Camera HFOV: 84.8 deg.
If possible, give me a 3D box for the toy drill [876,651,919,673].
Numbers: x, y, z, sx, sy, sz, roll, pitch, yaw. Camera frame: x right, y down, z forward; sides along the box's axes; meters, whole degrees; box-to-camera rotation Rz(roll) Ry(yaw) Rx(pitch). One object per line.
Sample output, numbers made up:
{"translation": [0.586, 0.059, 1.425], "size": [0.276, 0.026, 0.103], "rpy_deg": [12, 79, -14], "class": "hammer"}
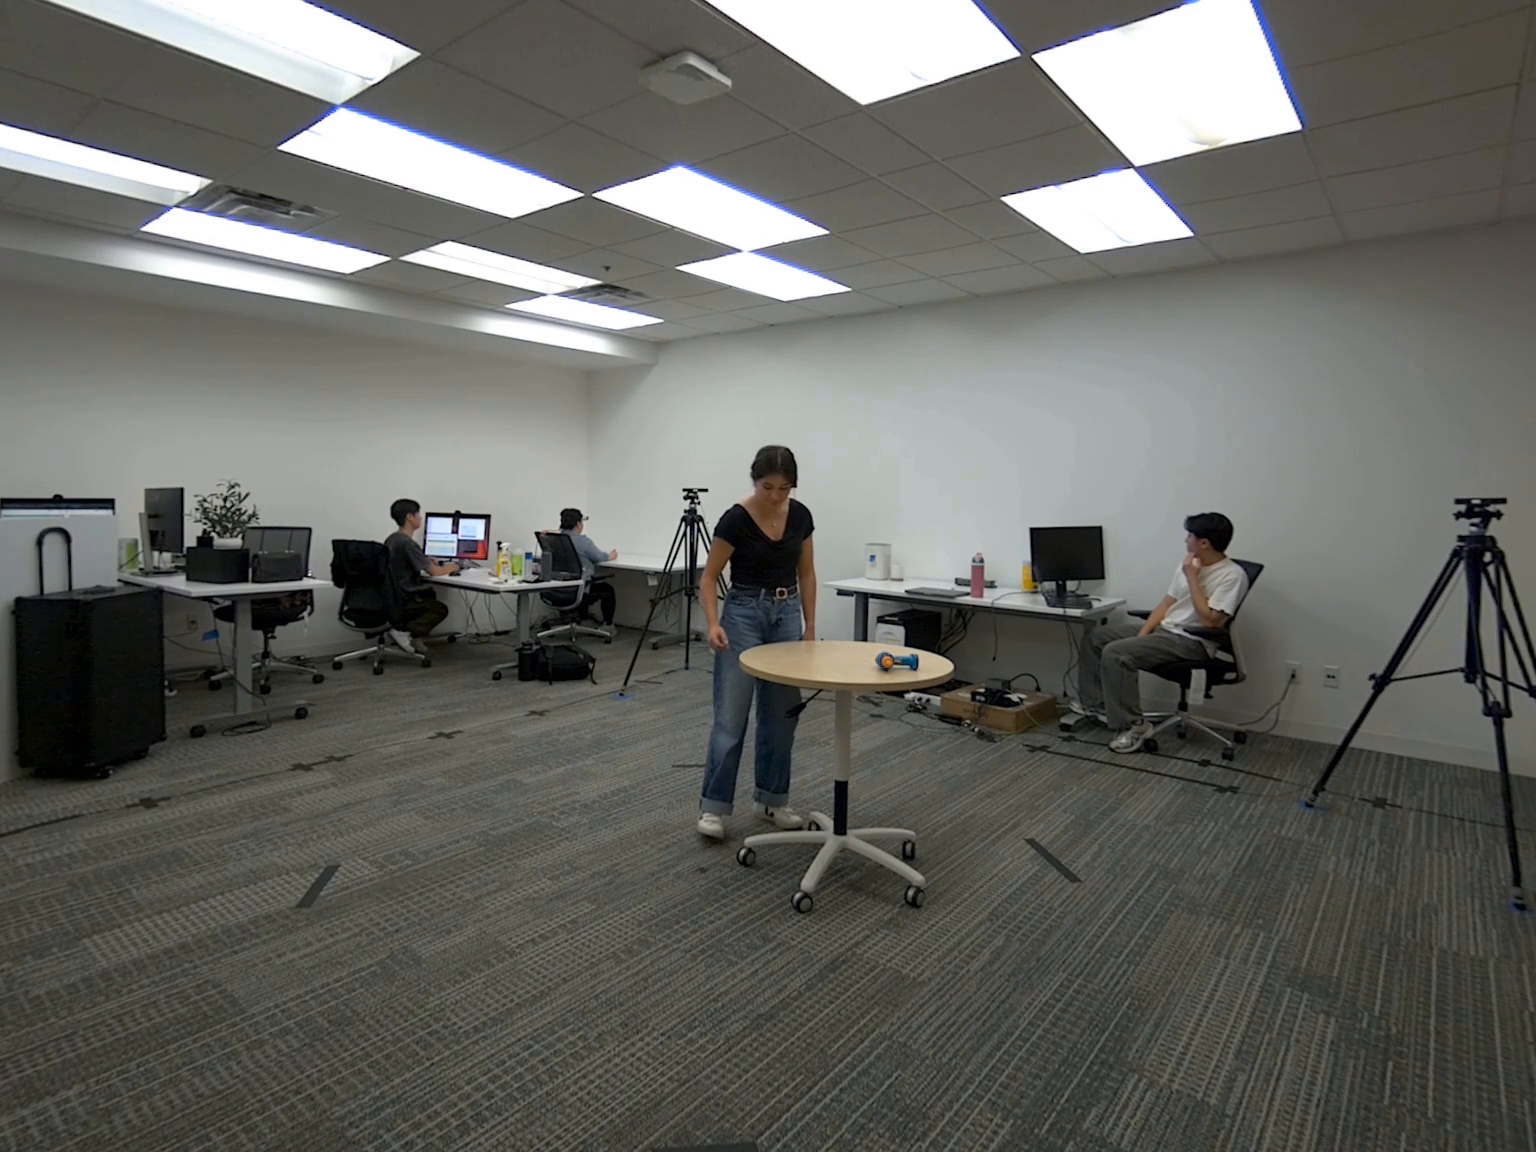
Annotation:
{"translation": [0.452, 0.284, 2.899], "size": [0.146, 0.061, 0.169], "rpy_deg": [1, -1, -1], "class": "toy drill"}
